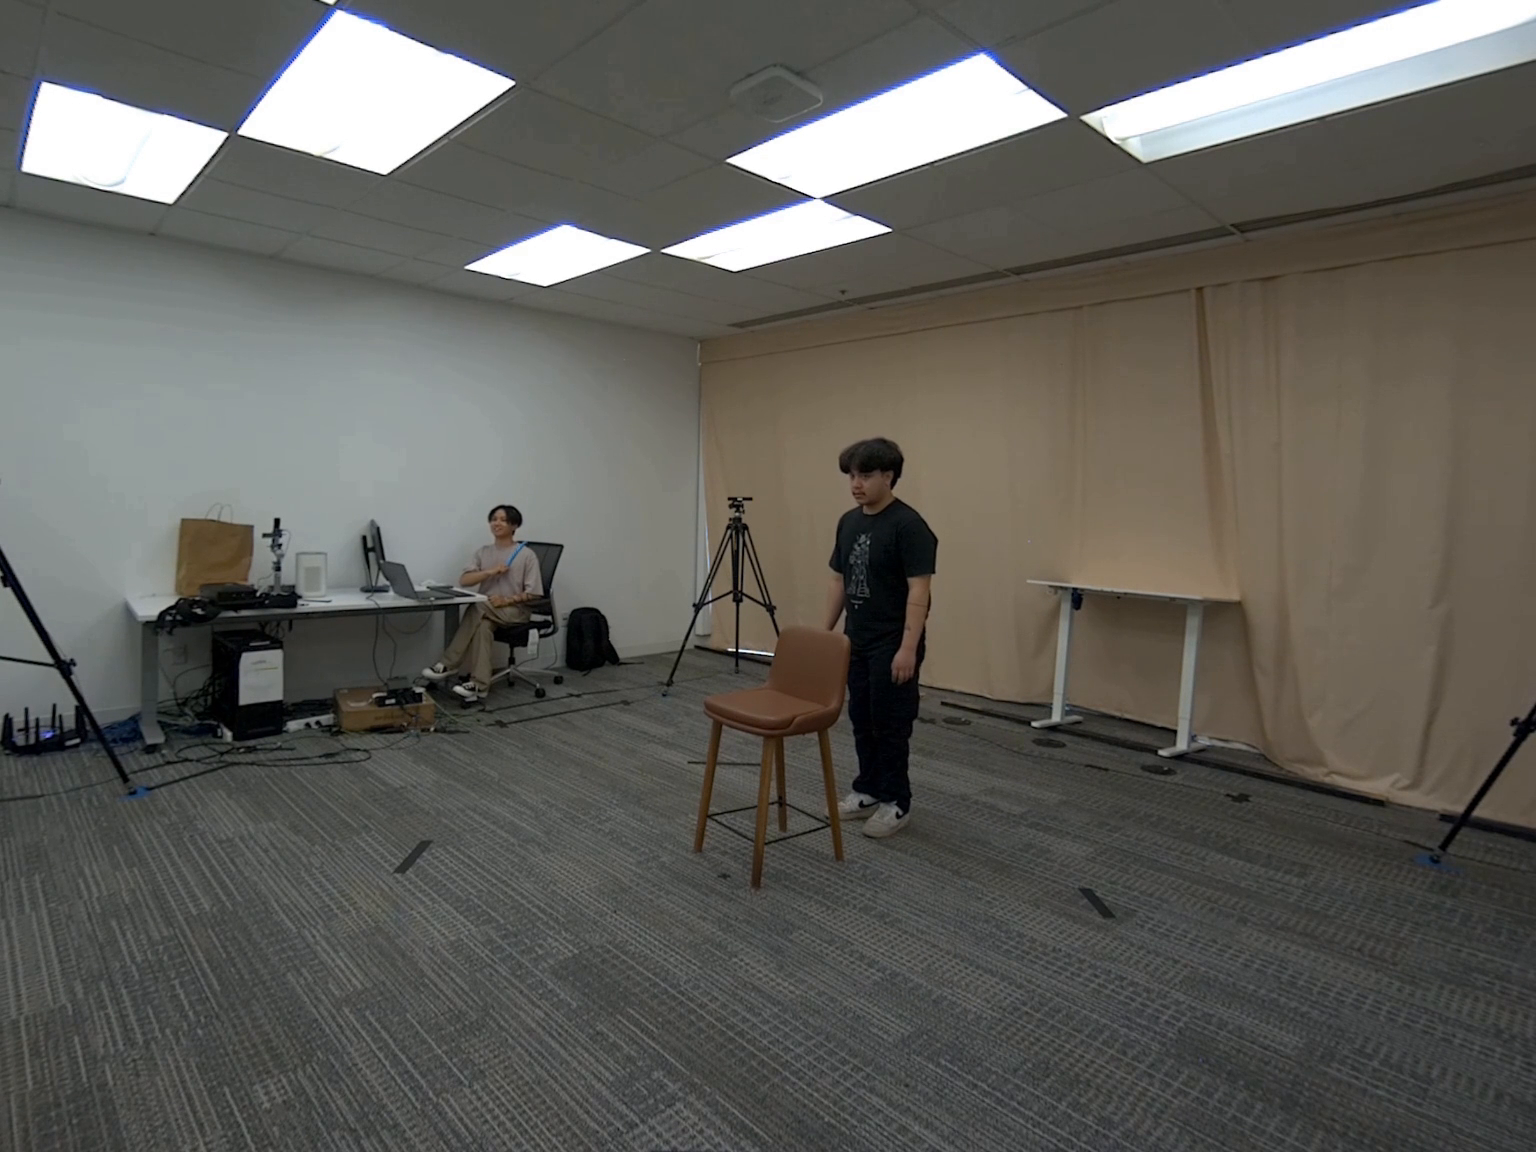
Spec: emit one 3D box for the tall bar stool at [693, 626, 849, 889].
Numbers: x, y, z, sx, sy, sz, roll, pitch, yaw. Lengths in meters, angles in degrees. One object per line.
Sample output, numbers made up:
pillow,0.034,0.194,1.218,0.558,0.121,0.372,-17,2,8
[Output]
tall bar stool,0.017,0.661,3.270,0.457,0.889,0.468,2,2,-37
